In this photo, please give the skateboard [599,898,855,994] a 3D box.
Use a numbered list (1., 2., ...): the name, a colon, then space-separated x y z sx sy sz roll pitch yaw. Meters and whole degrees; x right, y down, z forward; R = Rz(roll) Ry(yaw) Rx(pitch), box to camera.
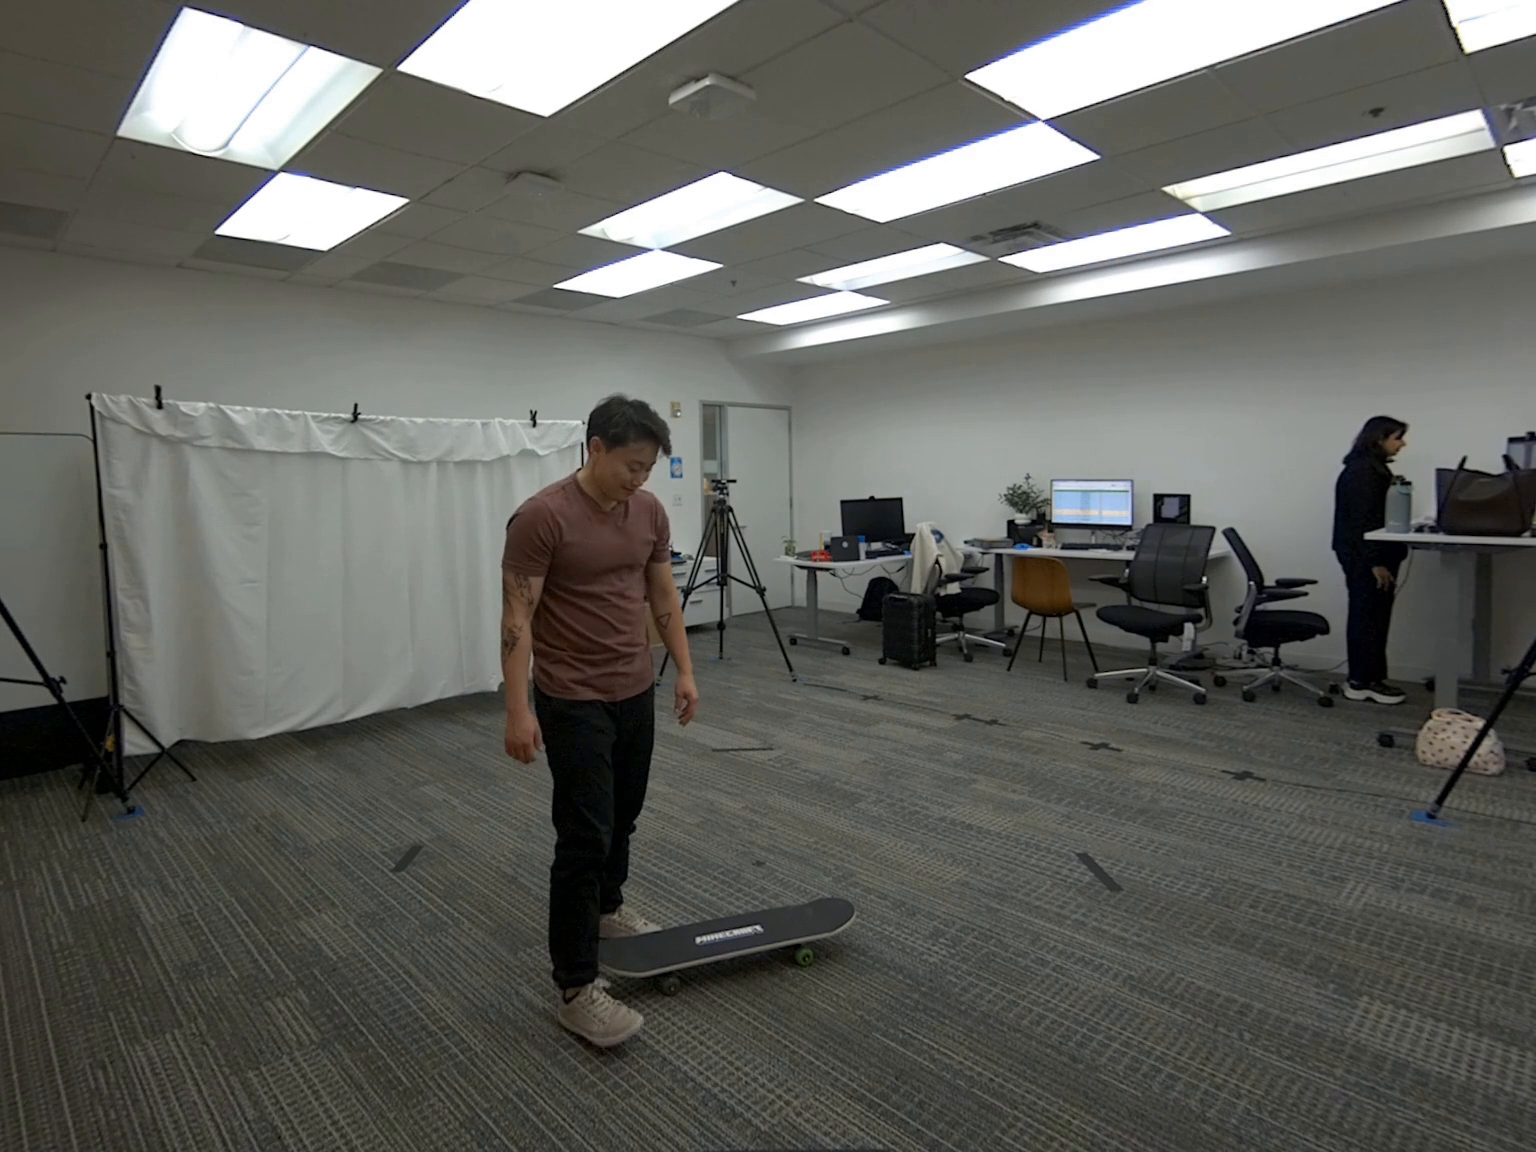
1. skateboard: -0.107 1.068 2.467 0.773 0.110 0.197 -3 6 -18
